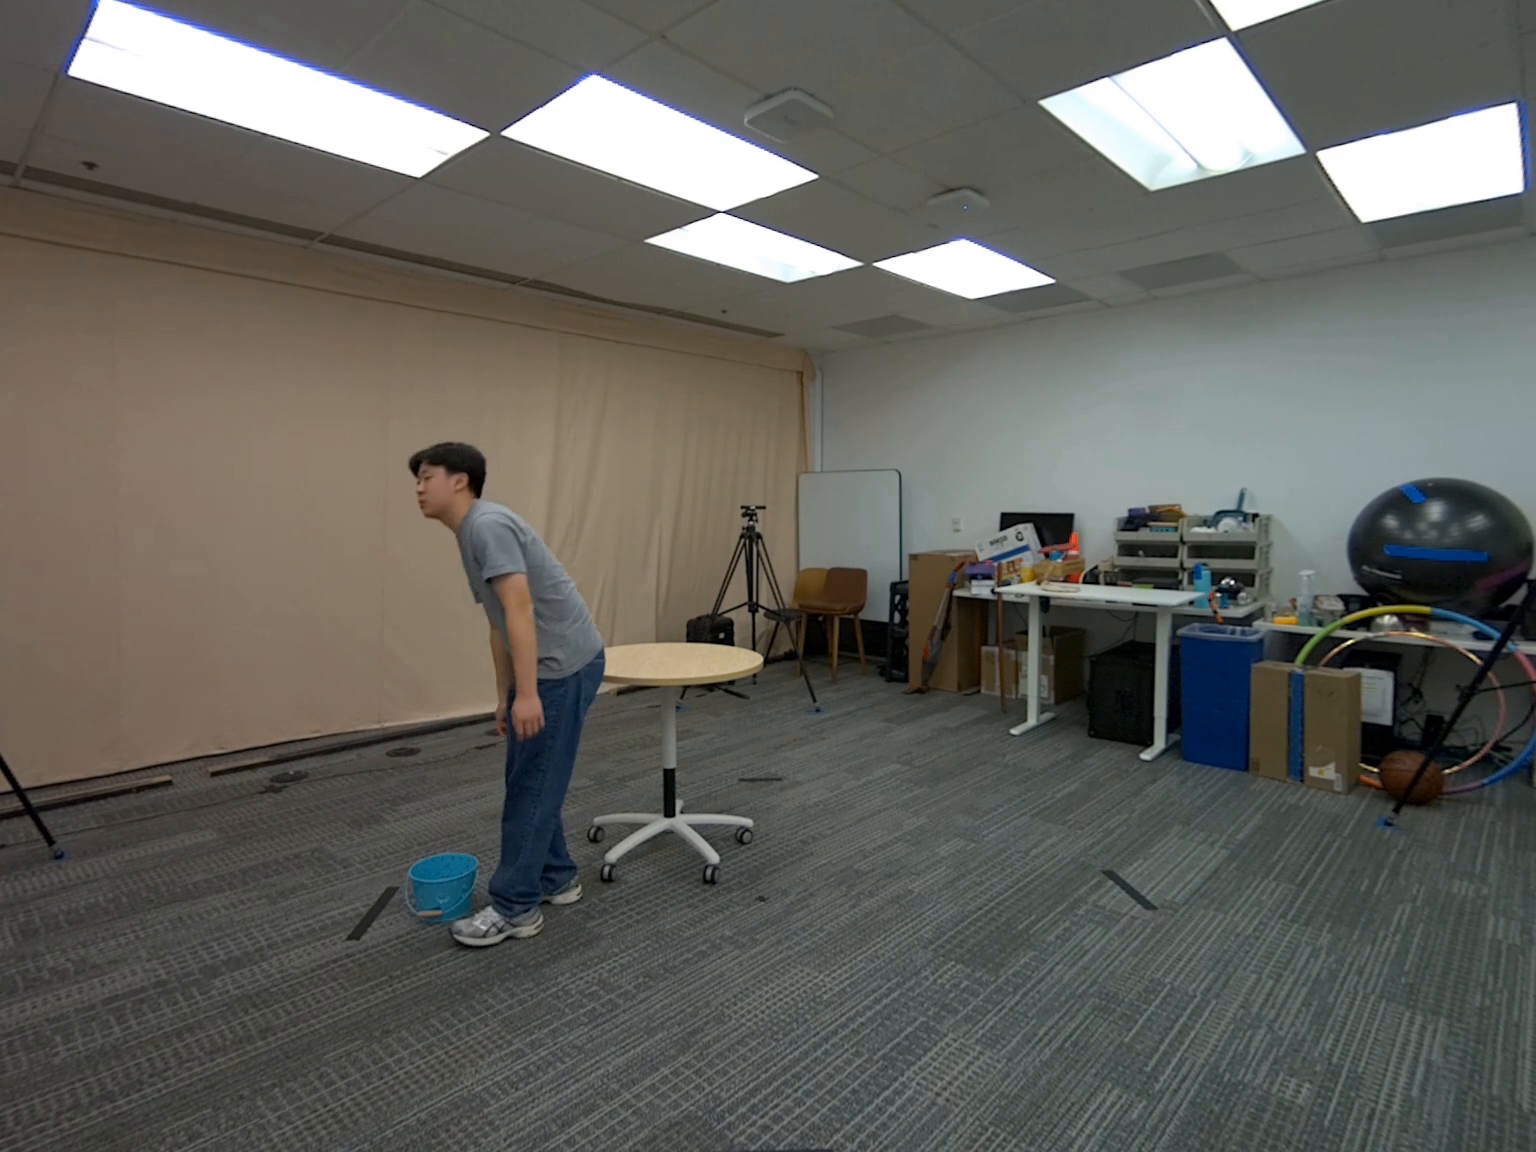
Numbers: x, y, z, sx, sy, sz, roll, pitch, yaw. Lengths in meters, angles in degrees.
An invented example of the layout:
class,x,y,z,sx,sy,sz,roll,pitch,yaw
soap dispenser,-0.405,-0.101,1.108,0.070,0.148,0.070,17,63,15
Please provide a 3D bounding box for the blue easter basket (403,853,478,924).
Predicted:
class,x,y,z,sx,sy,sz,roll,pitch,yaw
blue easter basket,-1.129,1.085,2.921,0.243,0.155,0.244,0,3,-2
